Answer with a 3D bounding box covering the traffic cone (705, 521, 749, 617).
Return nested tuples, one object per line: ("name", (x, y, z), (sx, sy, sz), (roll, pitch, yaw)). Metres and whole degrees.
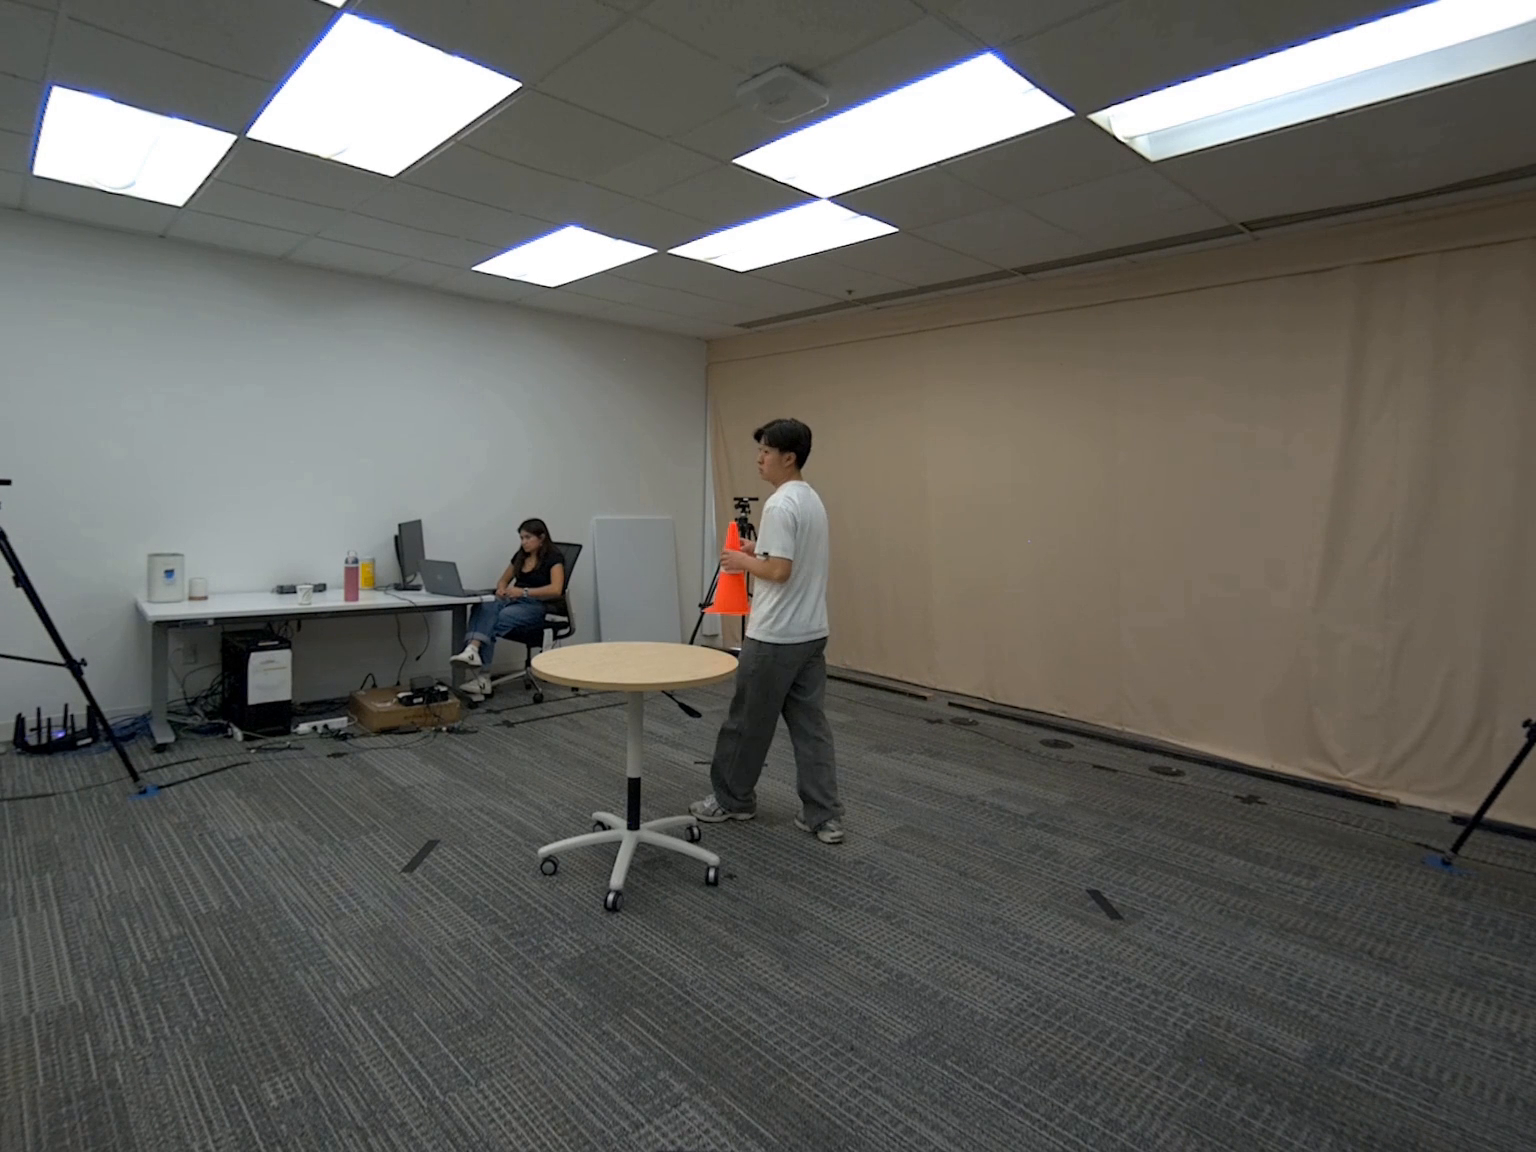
("traffic cone", (-0.159, -0.048, 3.650), (0.207, 0.381, 0.203), (5, 8, 20))
